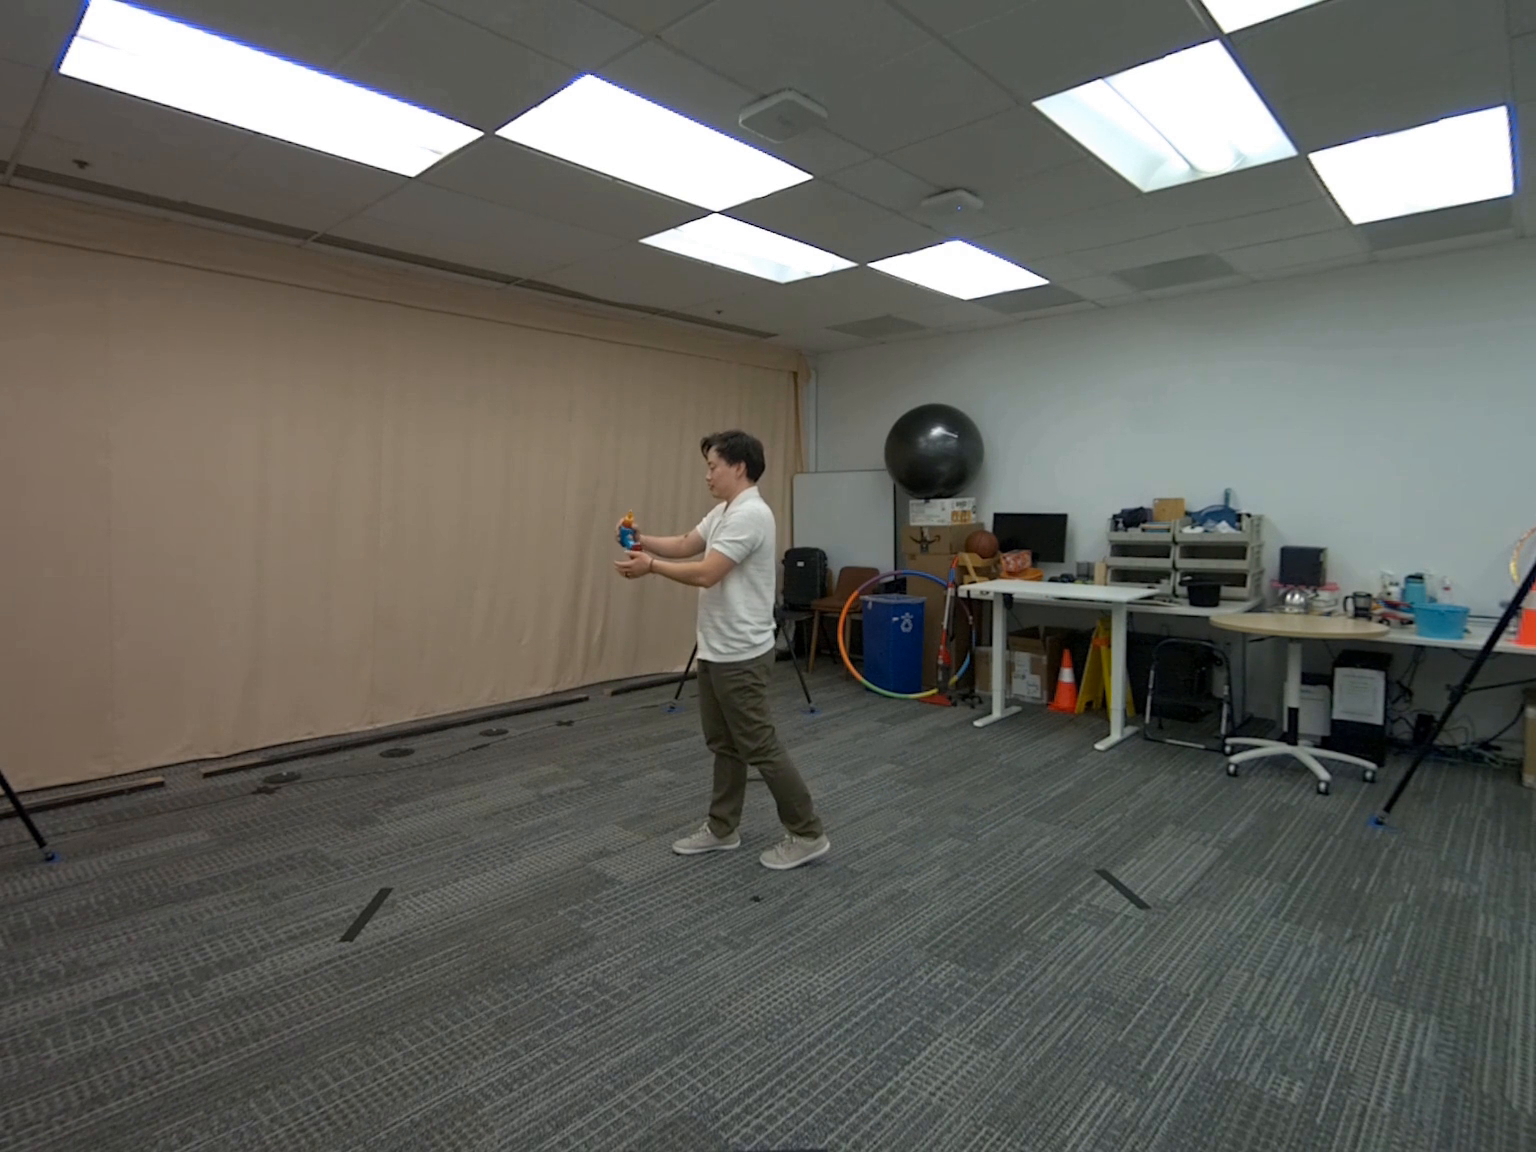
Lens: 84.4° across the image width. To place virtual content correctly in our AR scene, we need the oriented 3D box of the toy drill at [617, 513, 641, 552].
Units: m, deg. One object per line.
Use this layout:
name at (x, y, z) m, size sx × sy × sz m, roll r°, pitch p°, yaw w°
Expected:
toy drill at (-0.531, -0.159, 3.302) m, size 0.059 × 0.168 × 0.151 m, roll -3°, pitch 36°, yaw -31°
